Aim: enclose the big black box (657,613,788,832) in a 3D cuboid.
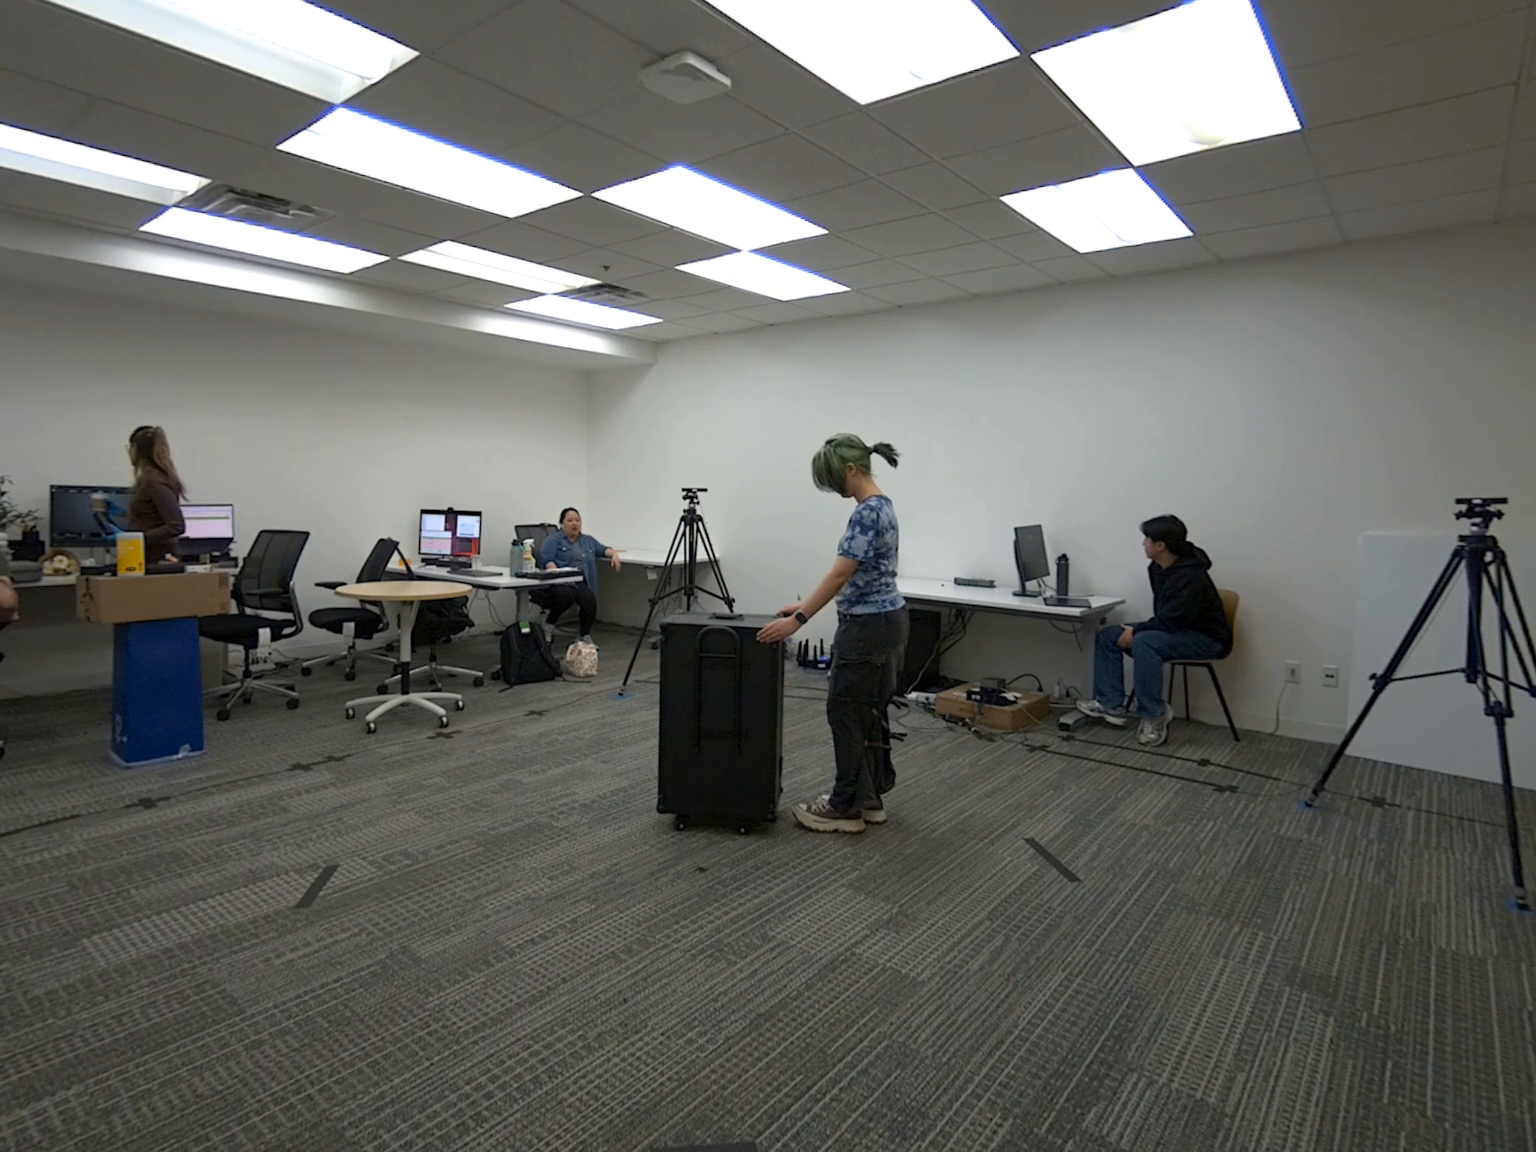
[{"bbox_3d":[-0.195,0.608,3.566,0.526,0.859,0.394,2,3,8],"label":"big black box"}]
